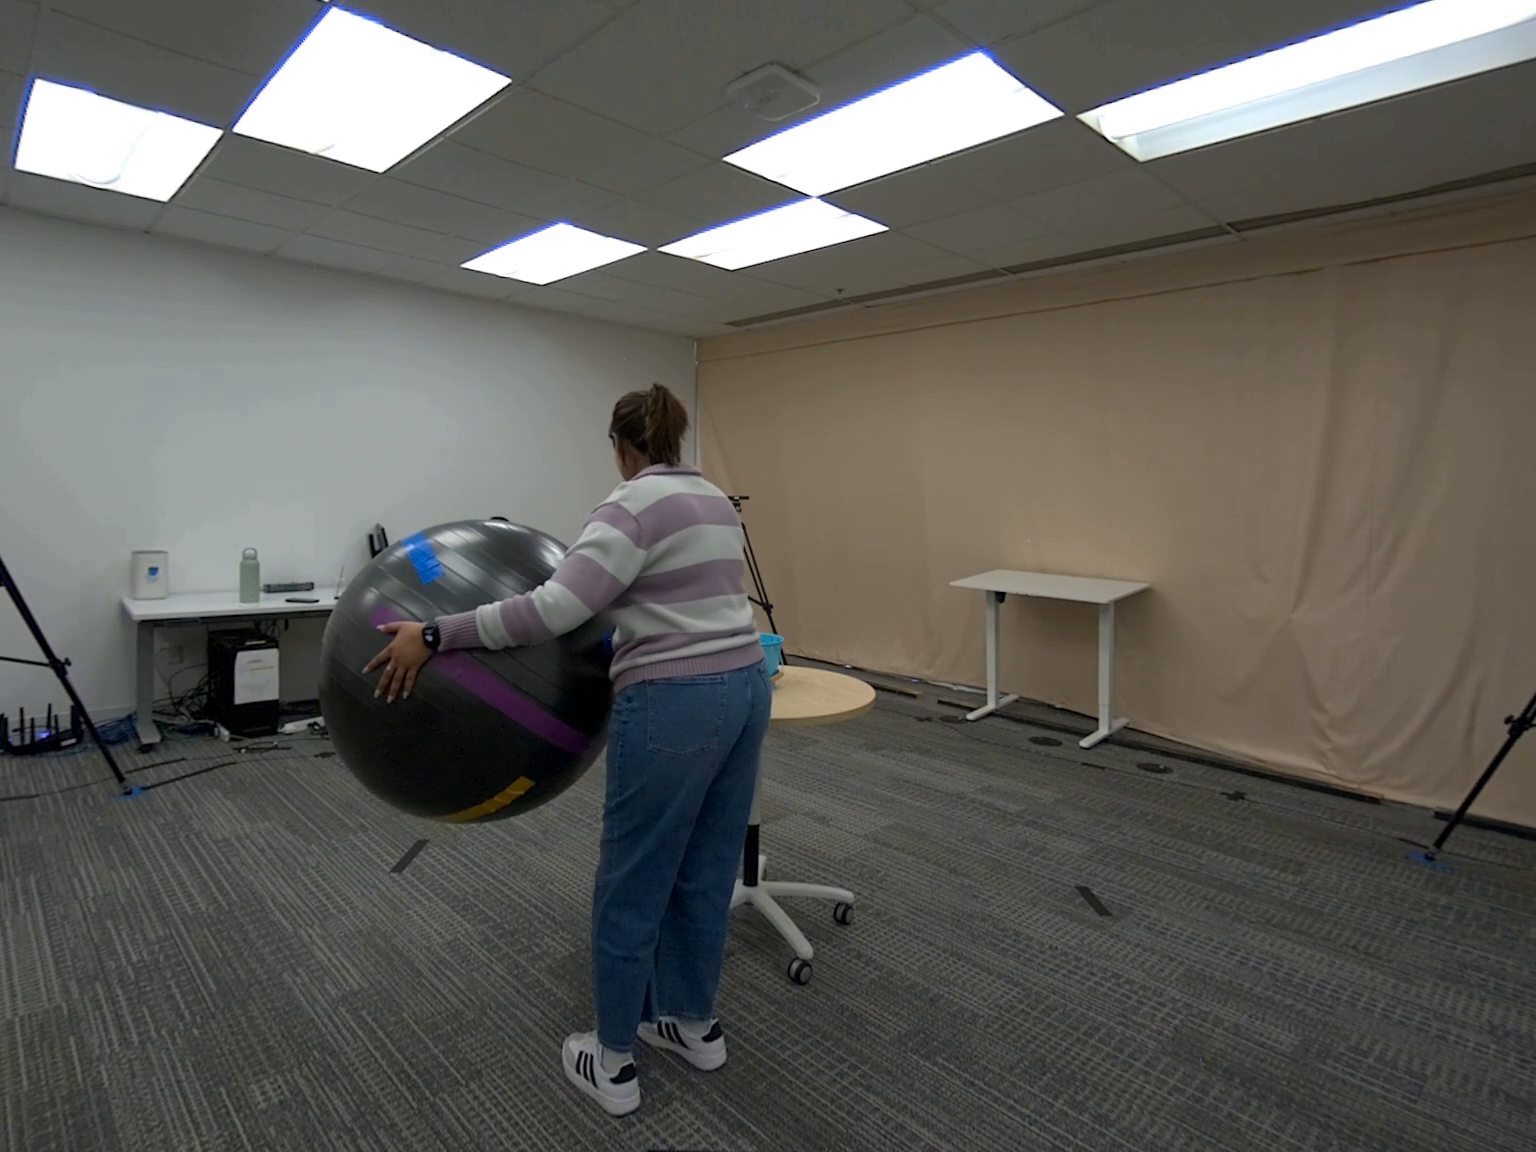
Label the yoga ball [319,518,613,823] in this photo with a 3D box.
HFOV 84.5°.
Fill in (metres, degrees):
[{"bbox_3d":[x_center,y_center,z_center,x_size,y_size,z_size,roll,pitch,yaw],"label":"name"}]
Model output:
[{"bbox_3d":[-0.749,0.242,2.145,0.757,0.756,0.761,1,4,-1],"label":"yoga ball"}]
